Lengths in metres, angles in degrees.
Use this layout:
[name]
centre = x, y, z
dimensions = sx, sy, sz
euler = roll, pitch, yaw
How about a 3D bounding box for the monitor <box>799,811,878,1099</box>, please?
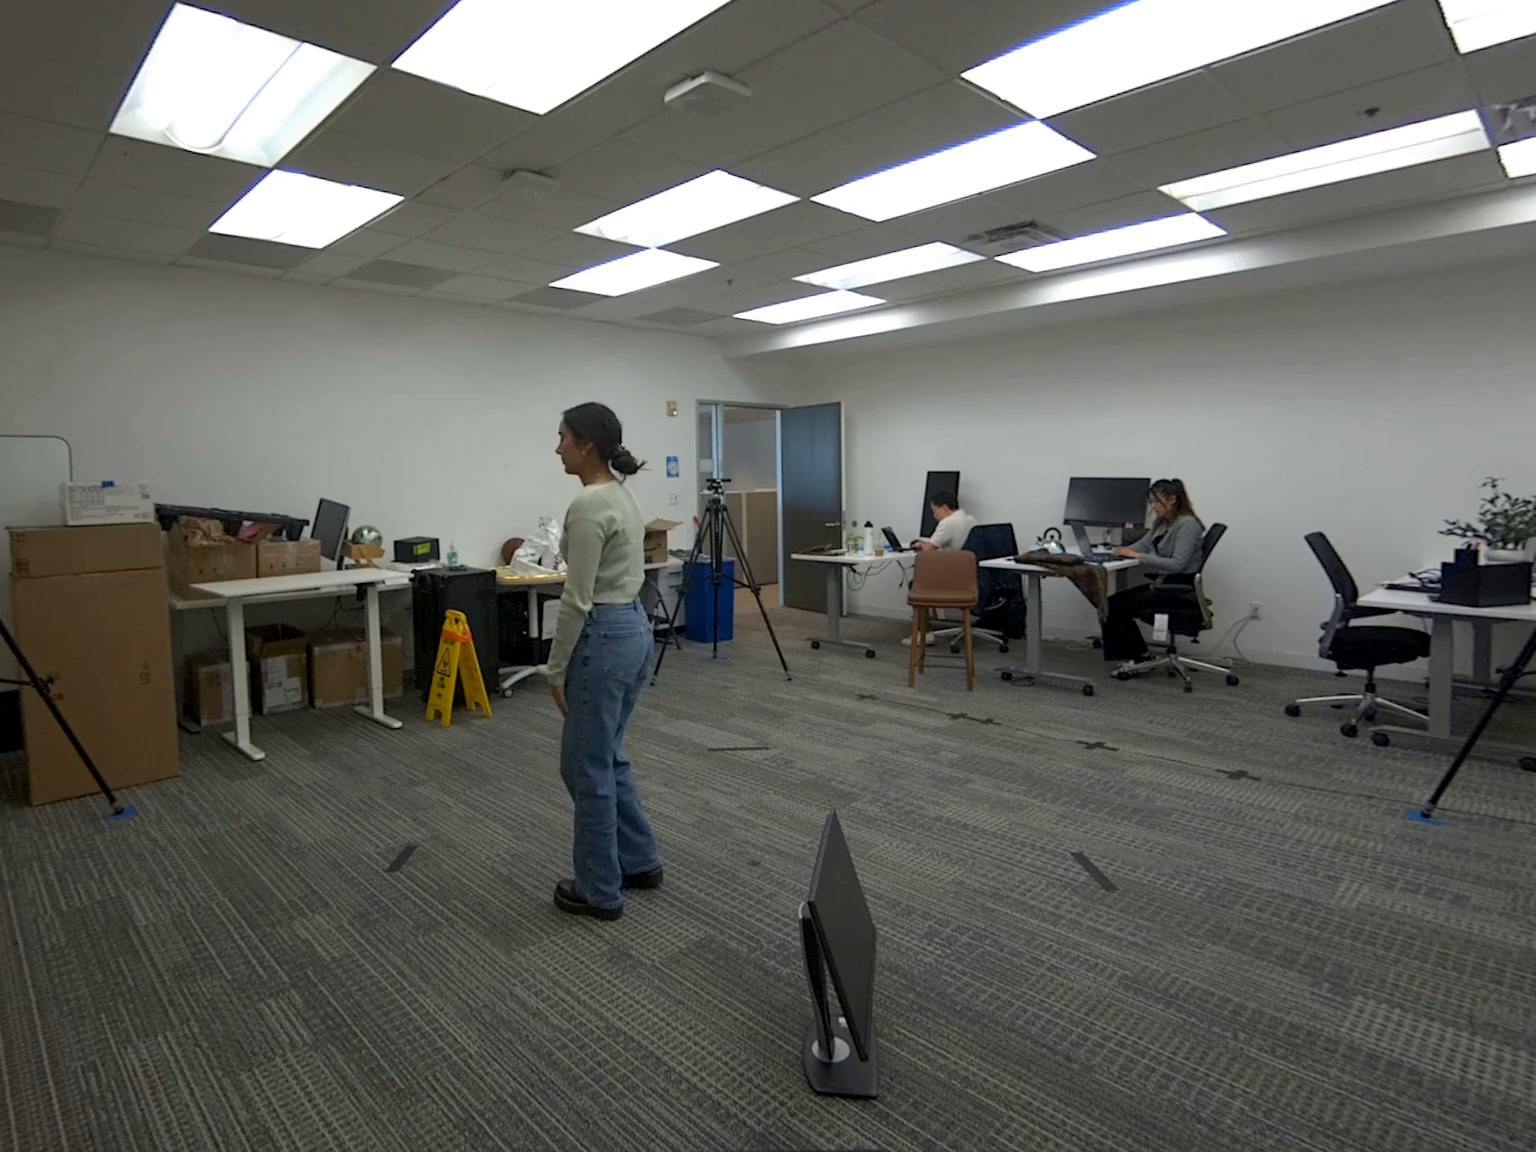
[monitor]
centre = 0.173, 0.903, 2.042
dimensions = 0.176, 0.514, 0.527
euler = 0, 4, 8
